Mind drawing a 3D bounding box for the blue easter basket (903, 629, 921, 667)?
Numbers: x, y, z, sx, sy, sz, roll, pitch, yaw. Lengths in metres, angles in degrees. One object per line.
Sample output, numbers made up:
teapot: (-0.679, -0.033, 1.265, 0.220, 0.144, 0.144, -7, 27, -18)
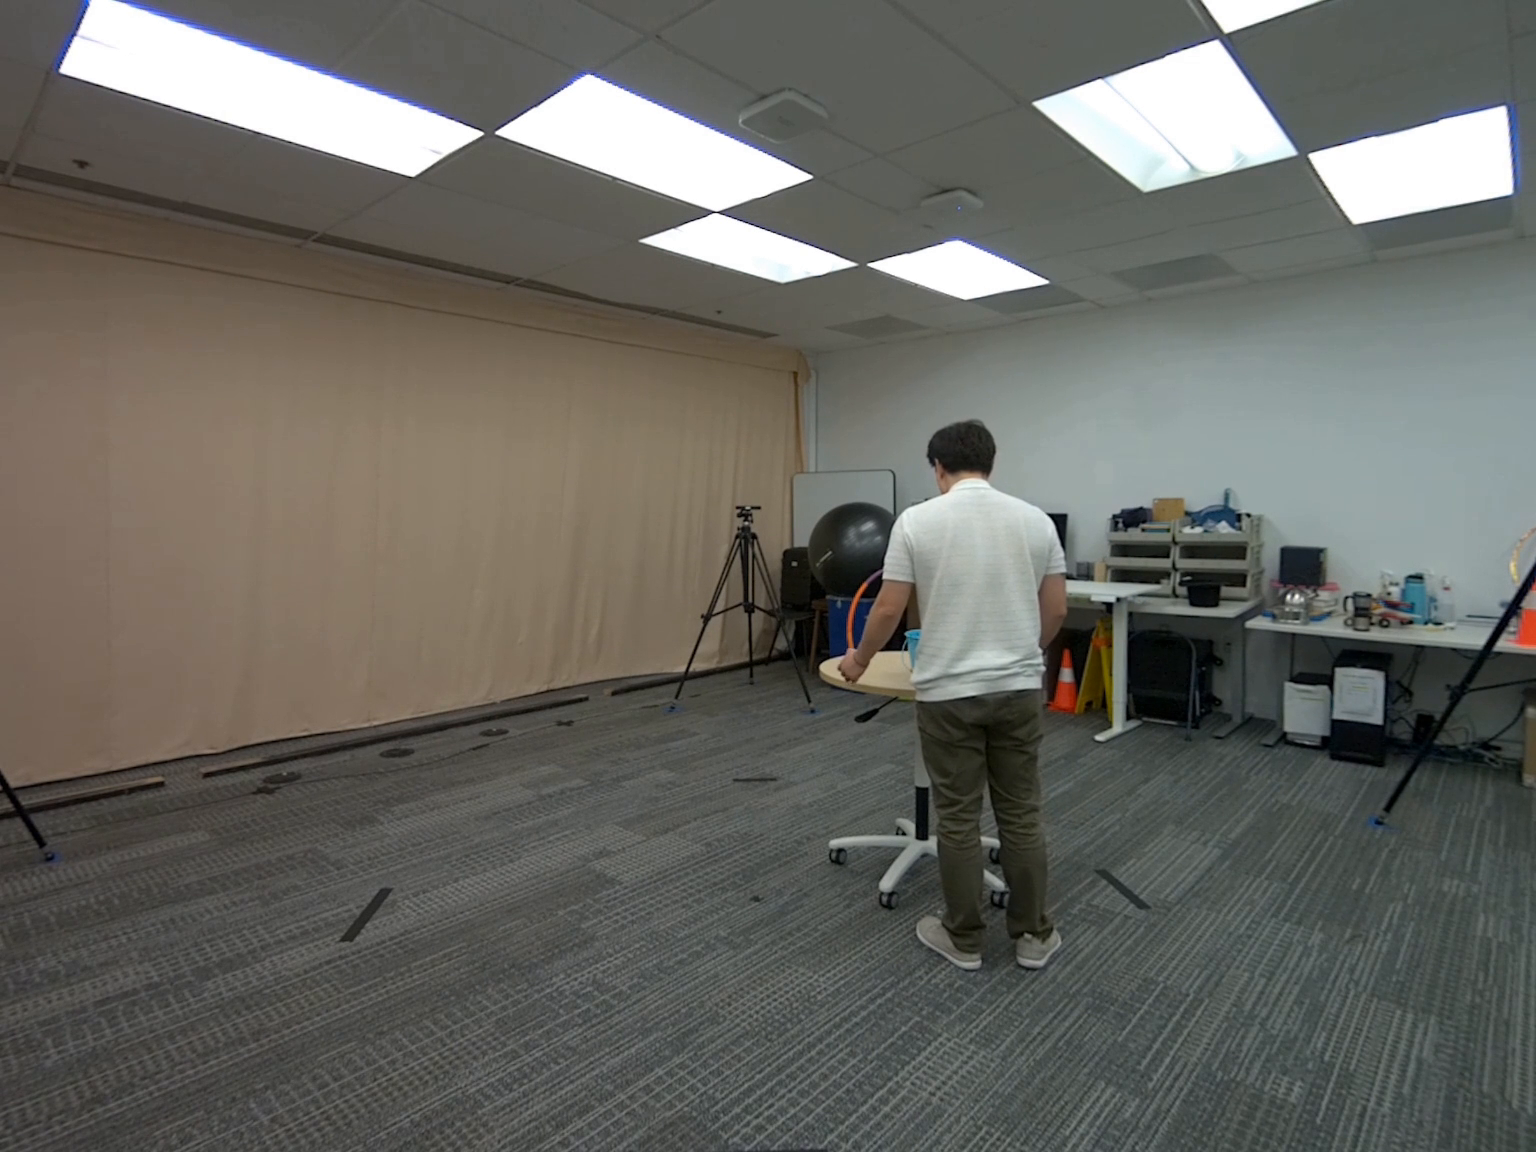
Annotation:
blue easter basket: (0.606, 0.286, 2.979, 0.243, 0.155, 0.244, 0, 4, -2)
